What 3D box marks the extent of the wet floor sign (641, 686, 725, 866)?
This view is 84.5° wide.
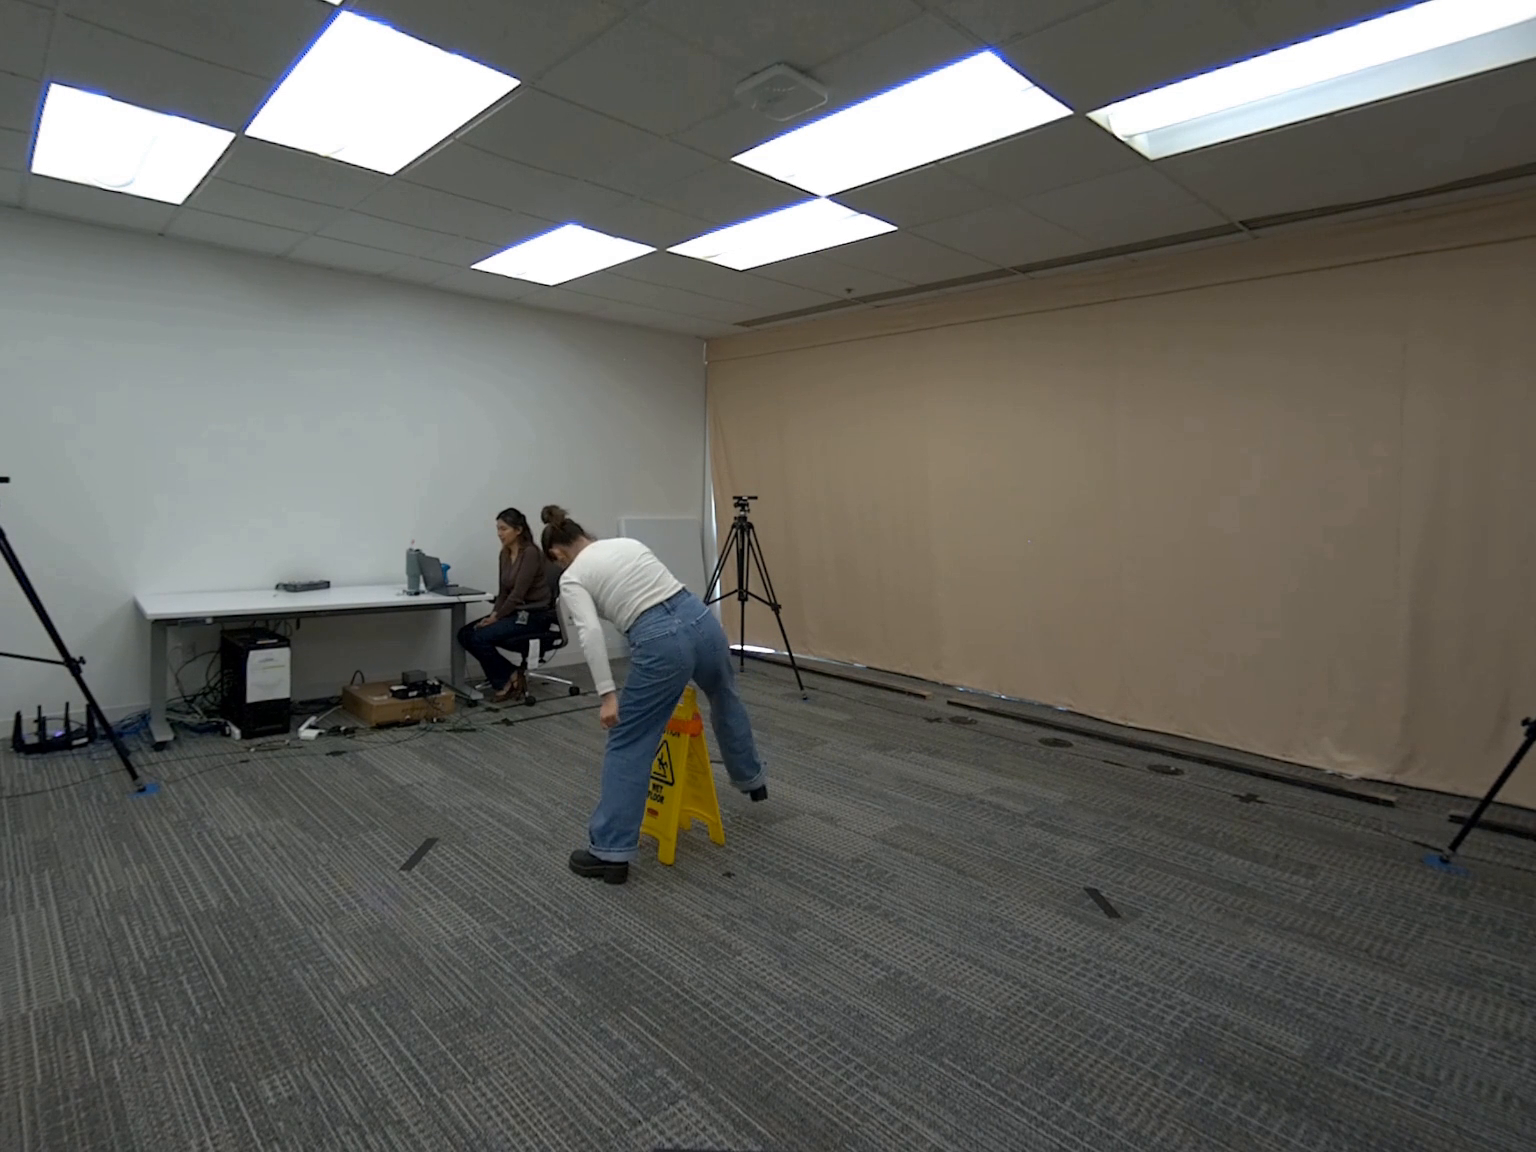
[{"bbox_3d":[-0.369,0.756,3.353,0.289,0.645,0.283,4,3,43],"label":"wet floor sign"}]
